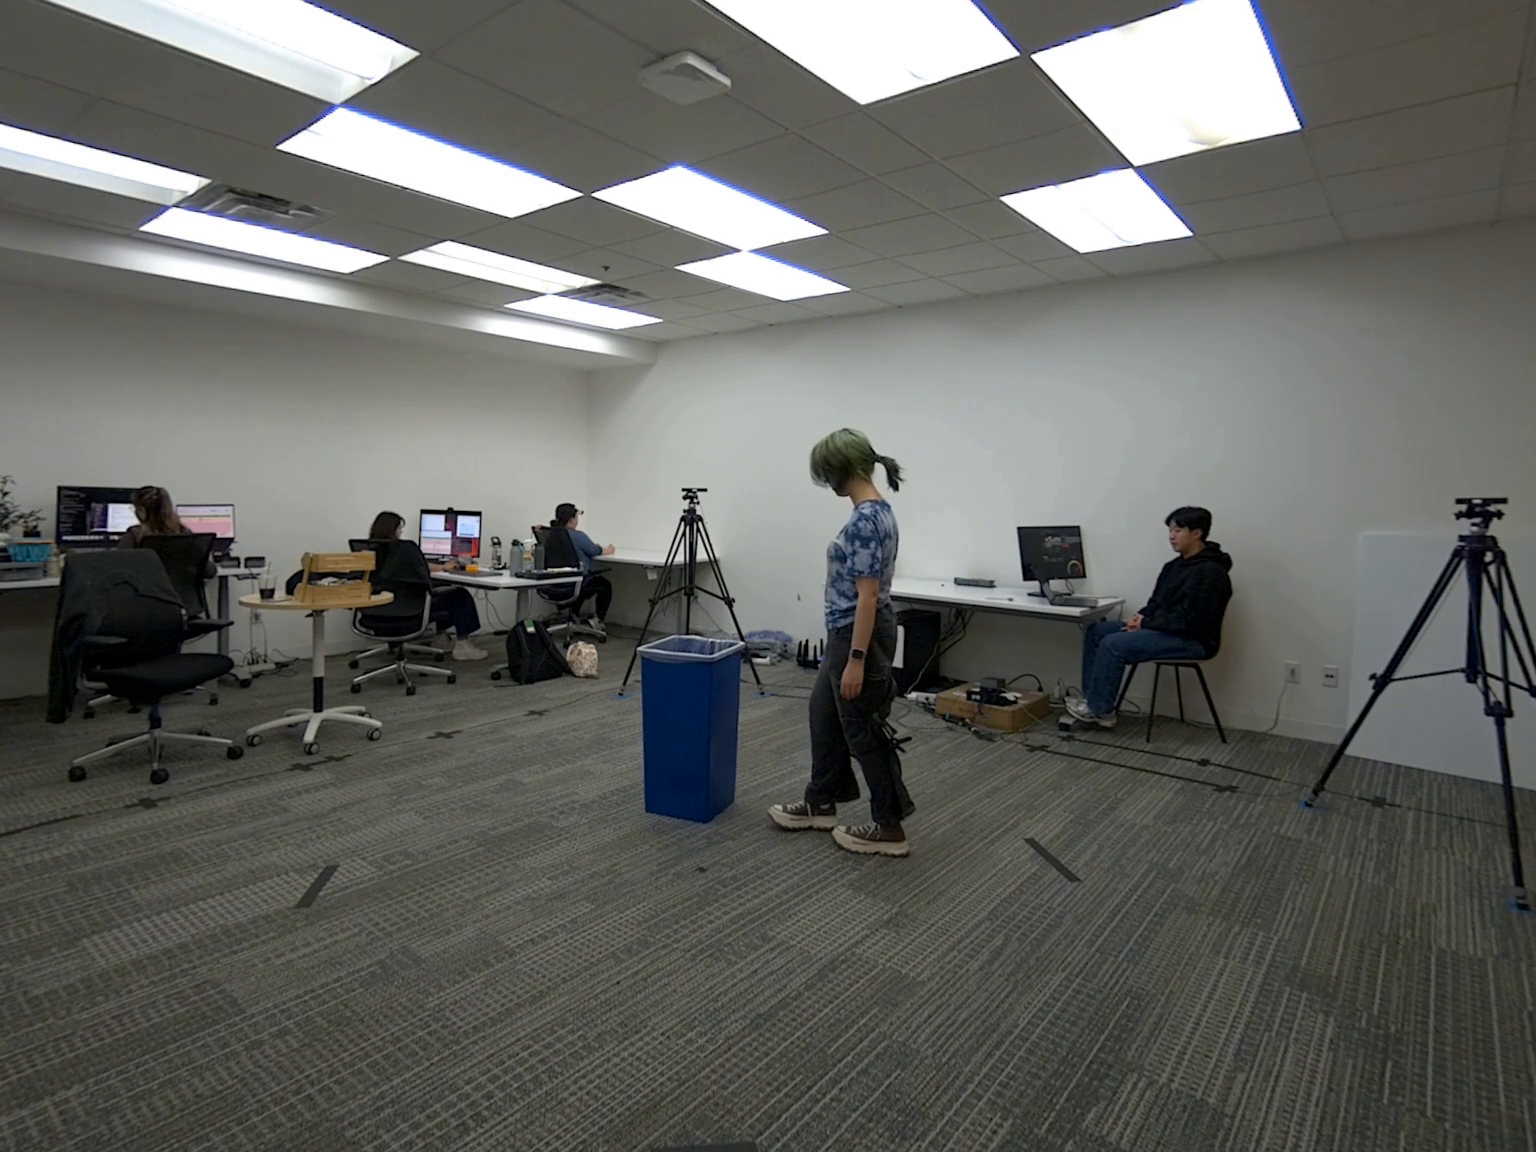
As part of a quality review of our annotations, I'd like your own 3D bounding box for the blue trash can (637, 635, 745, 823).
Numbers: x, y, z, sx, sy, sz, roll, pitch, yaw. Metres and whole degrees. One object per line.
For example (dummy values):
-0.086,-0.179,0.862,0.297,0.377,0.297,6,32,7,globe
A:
-0.346,0.652,3.706,0.387,0.711,0.366,2,4,23,blue trash can
